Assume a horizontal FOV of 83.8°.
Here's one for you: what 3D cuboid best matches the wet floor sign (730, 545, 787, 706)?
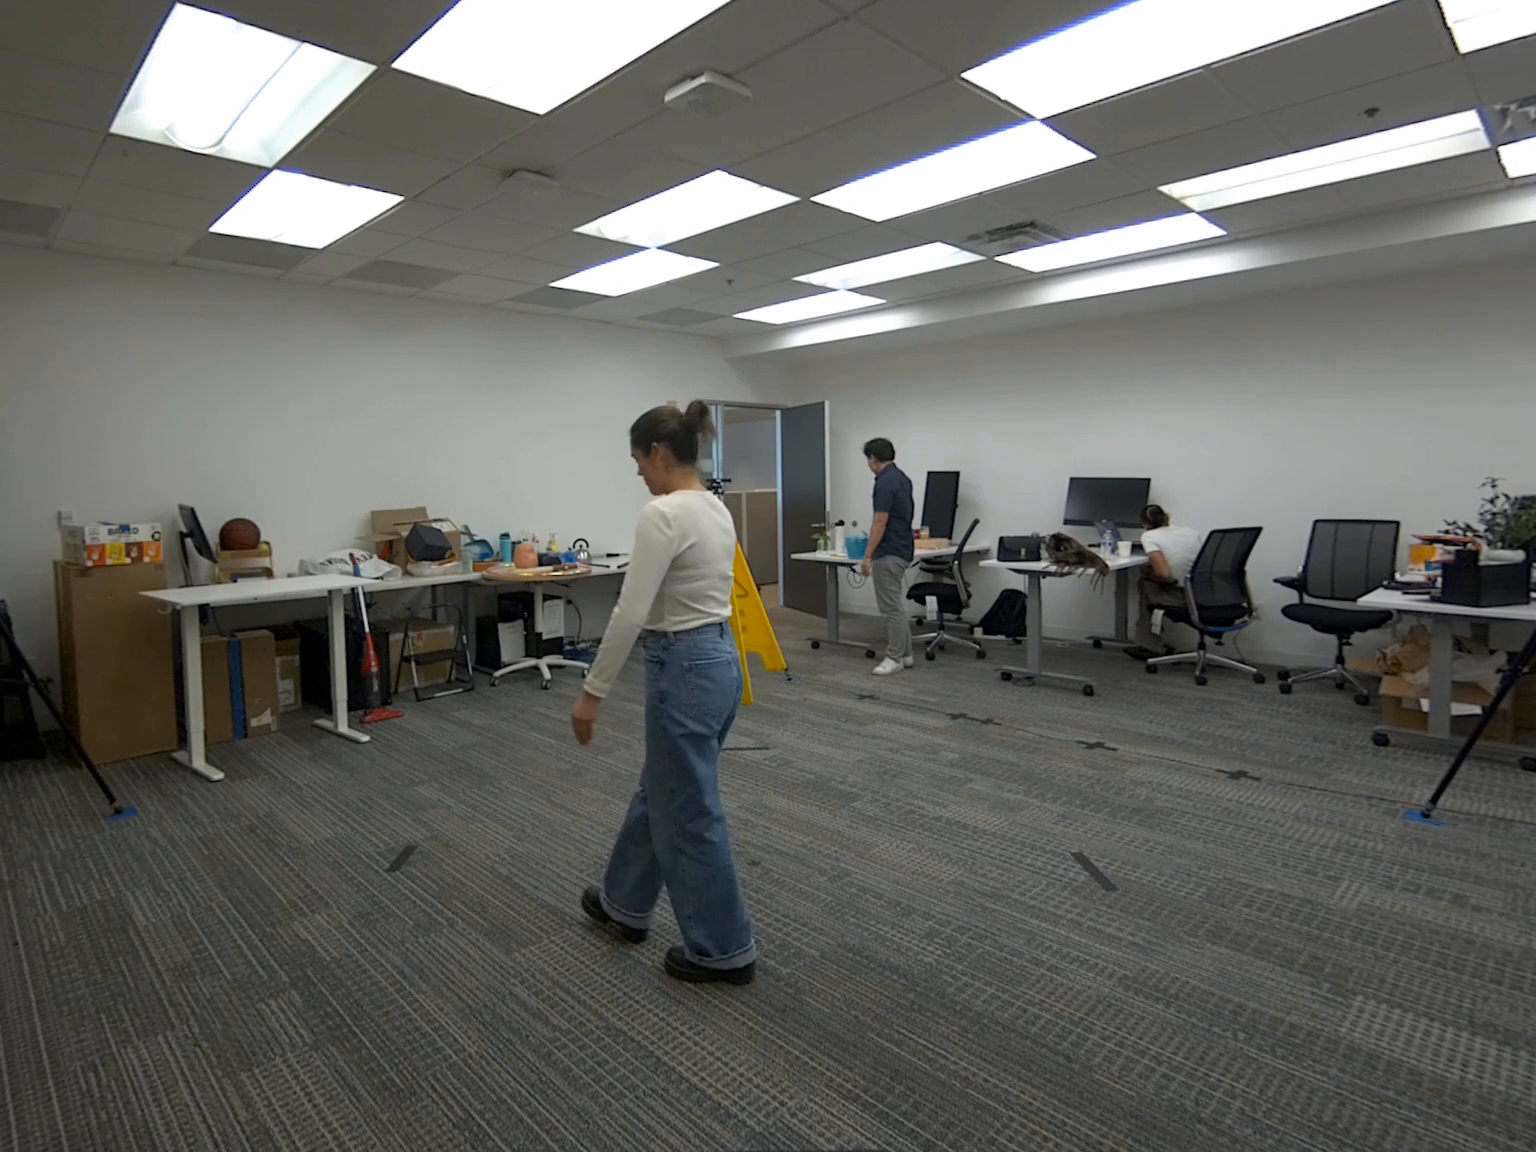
[{"bbox_3d":[-0.183,0.062,2.775,0.288,0.638,0.287,-6,13,29],"label":"wet floor sign"}]
